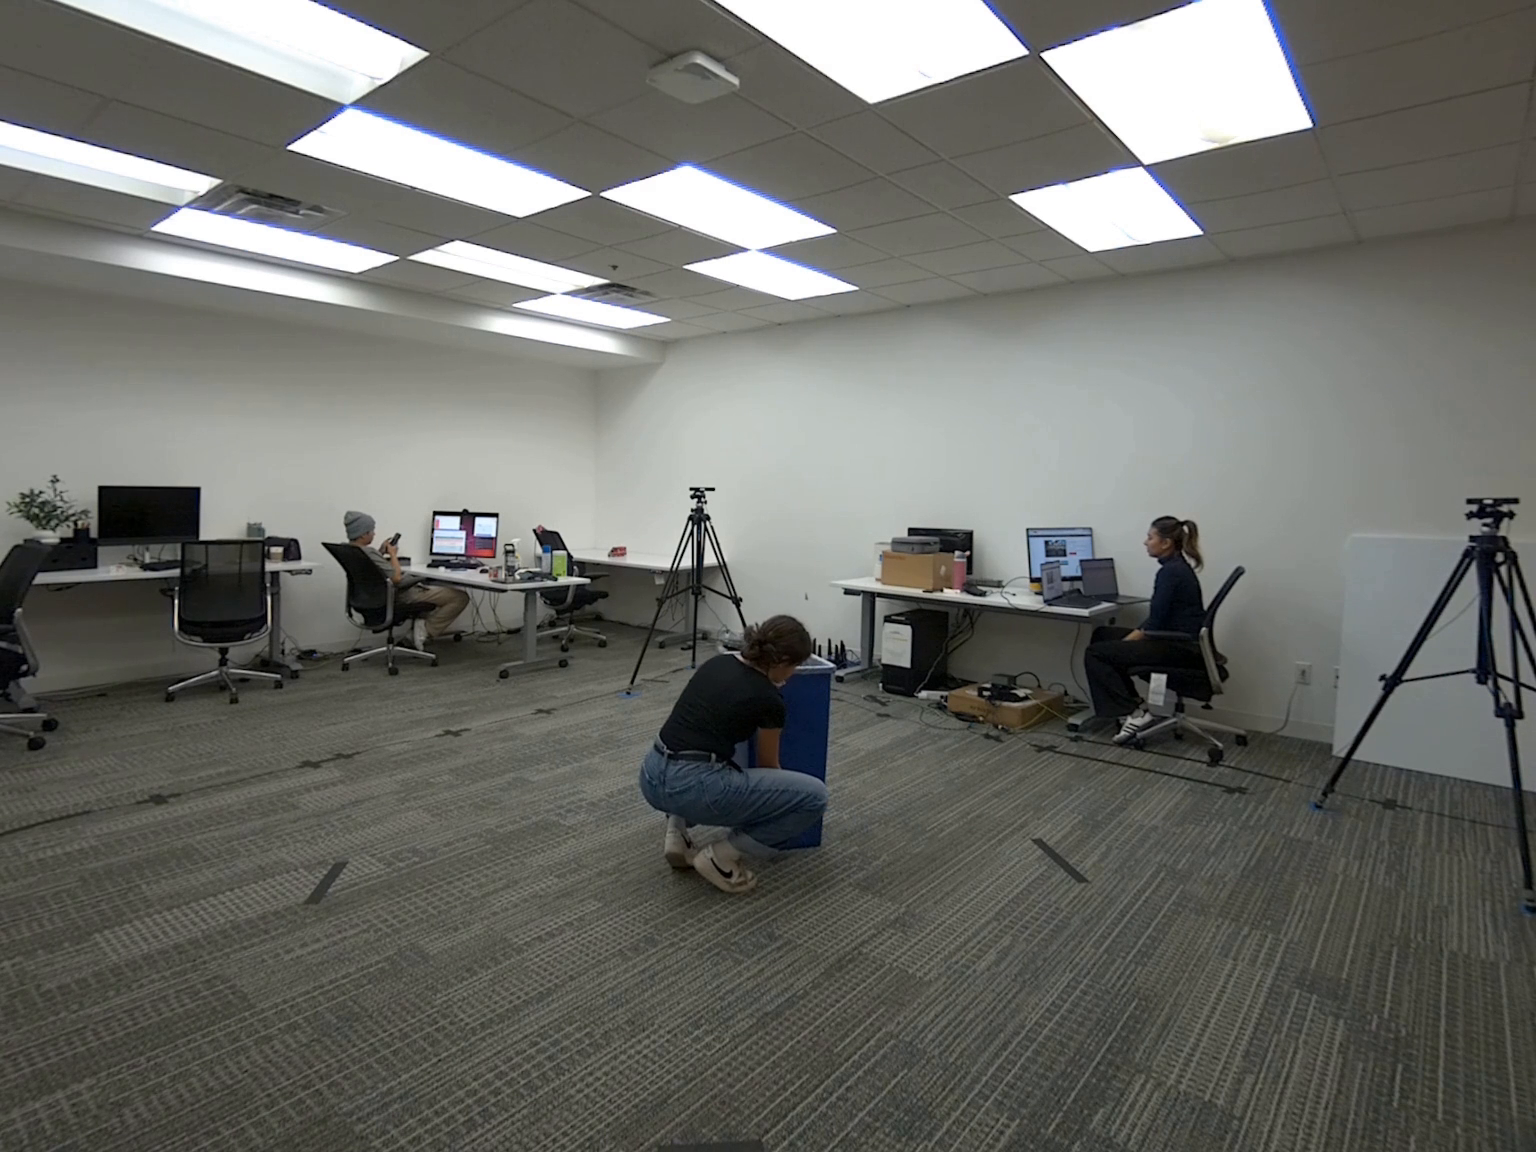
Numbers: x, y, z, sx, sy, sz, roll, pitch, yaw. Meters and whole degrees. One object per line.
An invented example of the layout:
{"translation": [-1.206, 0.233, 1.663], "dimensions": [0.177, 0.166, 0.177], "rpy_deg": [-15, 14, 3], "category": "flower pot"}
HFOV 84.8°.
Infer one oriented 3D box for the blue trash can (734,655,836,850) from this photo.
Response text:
{"translation": [0.027, 0.685, 3.421], "dimensions": [0.371, 0.711, 0.382], "rpy_deg": [1, 4, -18], "category": "blue trash can"}
